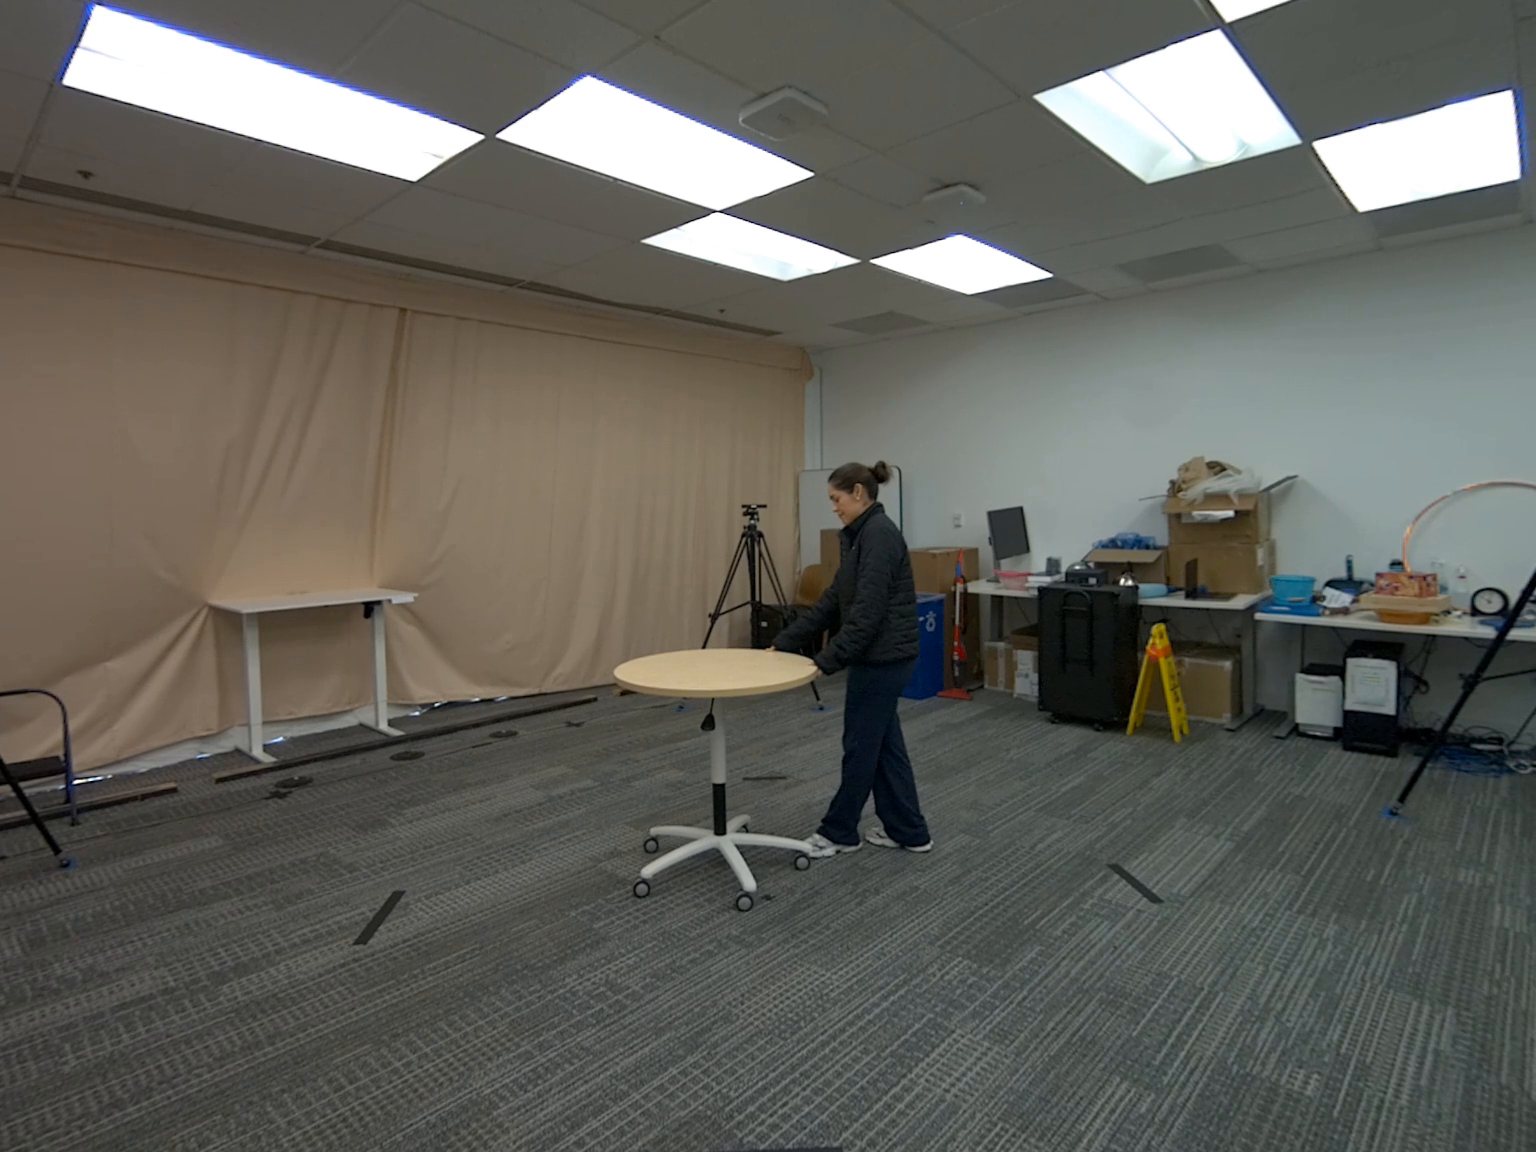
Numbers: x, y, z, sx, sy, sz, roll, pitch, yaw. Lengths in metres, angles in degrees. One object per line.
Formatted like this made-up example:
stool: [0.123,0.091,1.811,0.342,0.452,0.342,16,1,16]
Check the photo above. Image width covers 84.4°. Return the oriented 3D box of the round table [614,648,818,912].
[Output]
round table: [-0.170,0.732,3.197,0.784,0.785,0.788,-2,4,-2]
